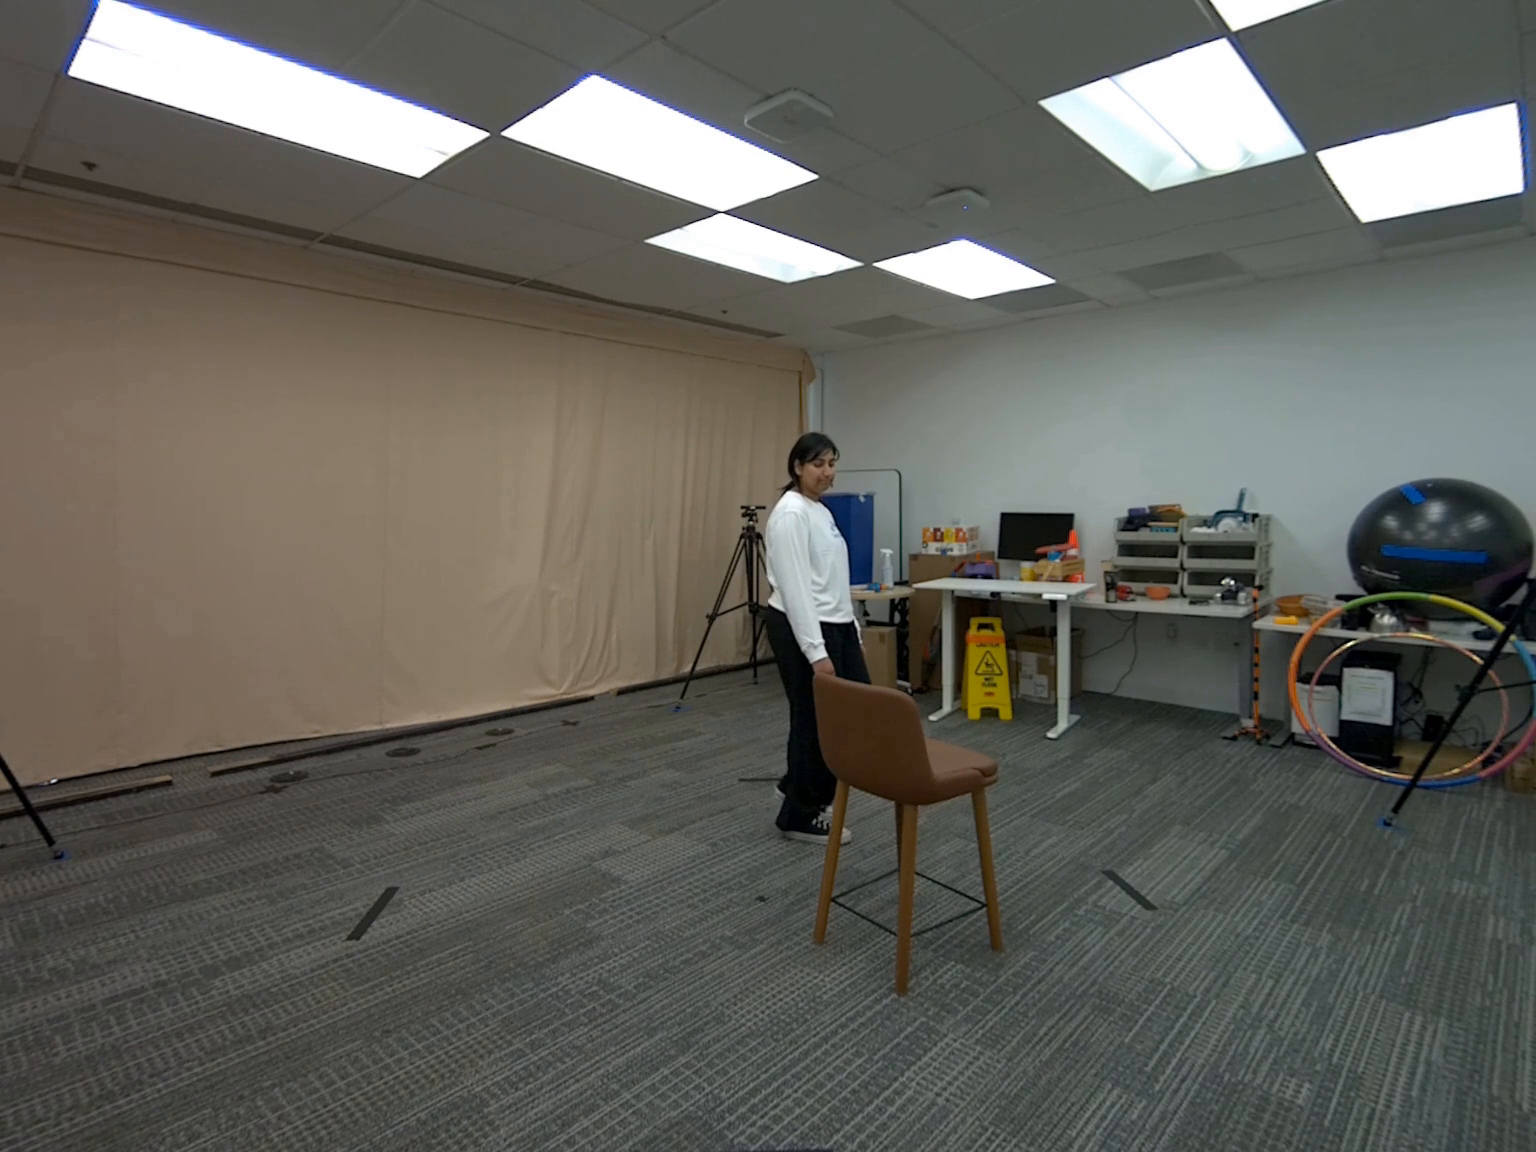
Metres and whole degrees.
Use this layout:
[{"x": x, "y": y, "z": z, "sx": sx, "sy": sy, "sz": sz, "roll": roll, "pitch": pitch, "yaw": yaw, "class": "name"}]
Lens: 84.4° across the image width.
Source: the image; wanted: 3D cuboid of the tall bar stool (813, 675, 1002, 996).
[{"x": 0.435, "y": 0.735, "z": 2.646, "sx": 0.454, "sy": 0.887, "sz": 0.471, "roll": -5, "pitch": 5, "yaw": -38, "class": "tall bar stool"}]
